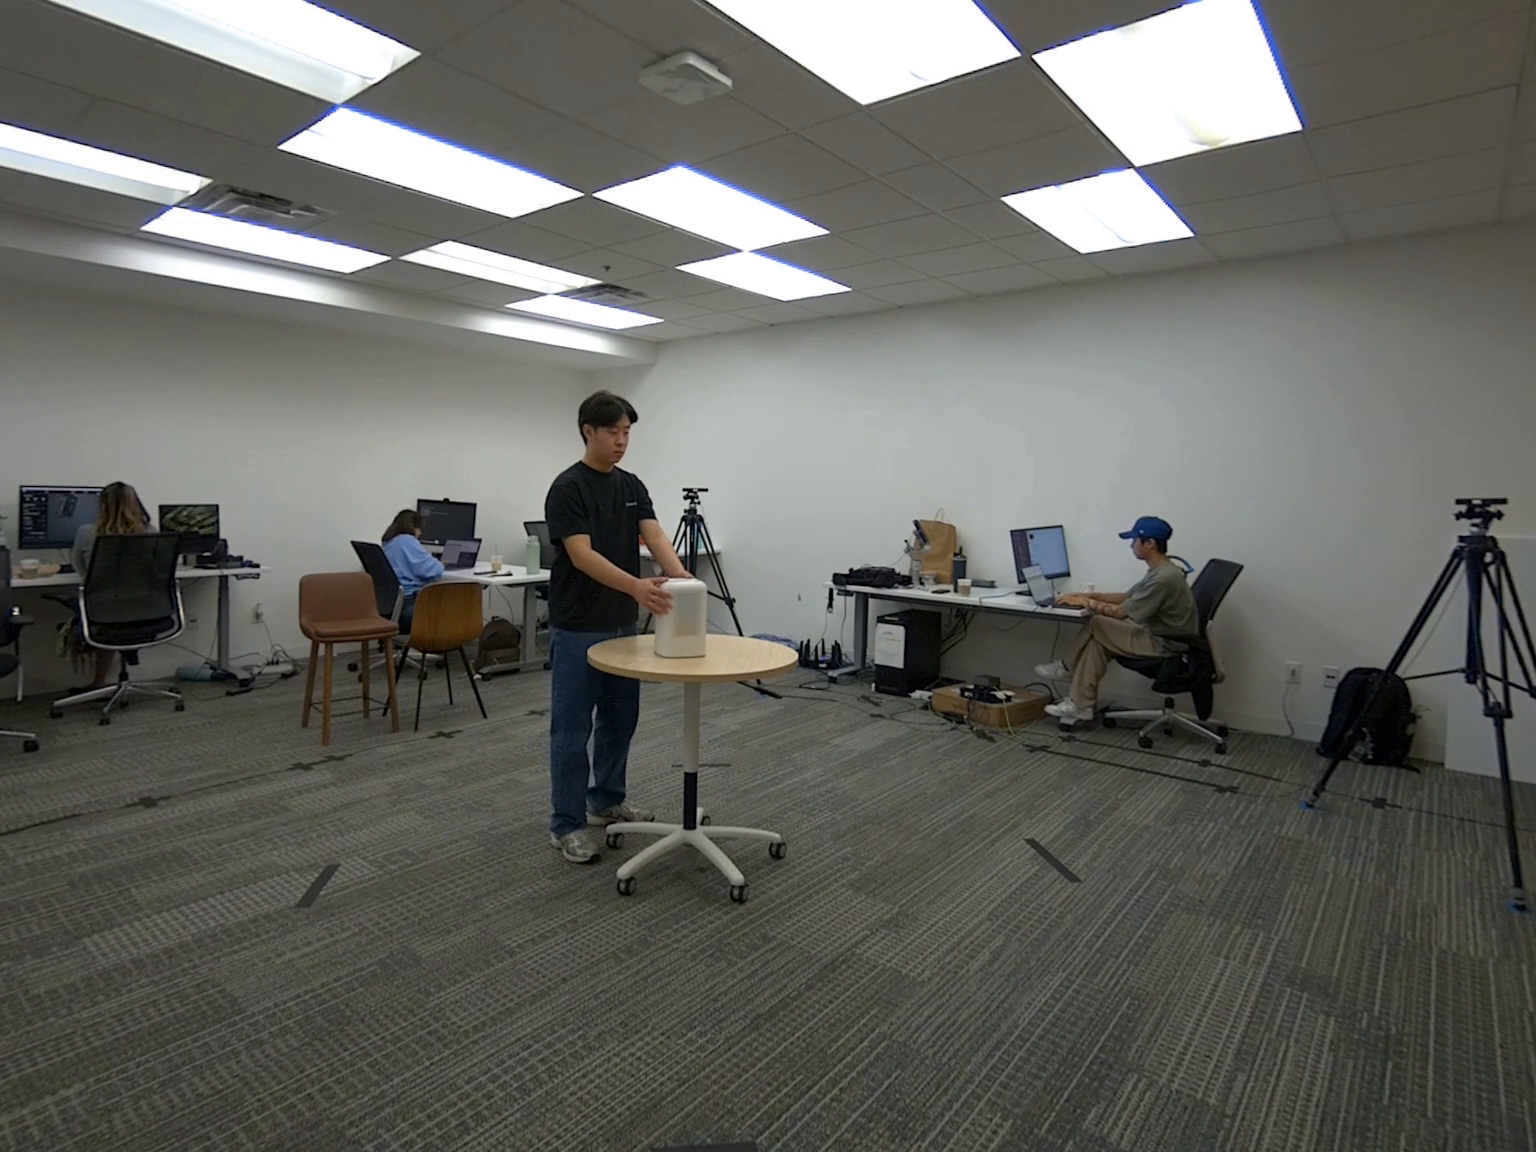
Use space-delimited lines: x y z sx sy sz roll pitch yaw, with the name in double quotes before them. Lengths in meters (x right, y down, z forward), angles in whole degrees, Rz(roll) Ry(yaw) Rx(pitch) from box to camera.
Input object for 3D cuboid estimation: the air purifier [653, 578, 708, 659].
"air purifier" -0.322 0.148 3.050 0.169 0.264 0.174 -2 4 -16
